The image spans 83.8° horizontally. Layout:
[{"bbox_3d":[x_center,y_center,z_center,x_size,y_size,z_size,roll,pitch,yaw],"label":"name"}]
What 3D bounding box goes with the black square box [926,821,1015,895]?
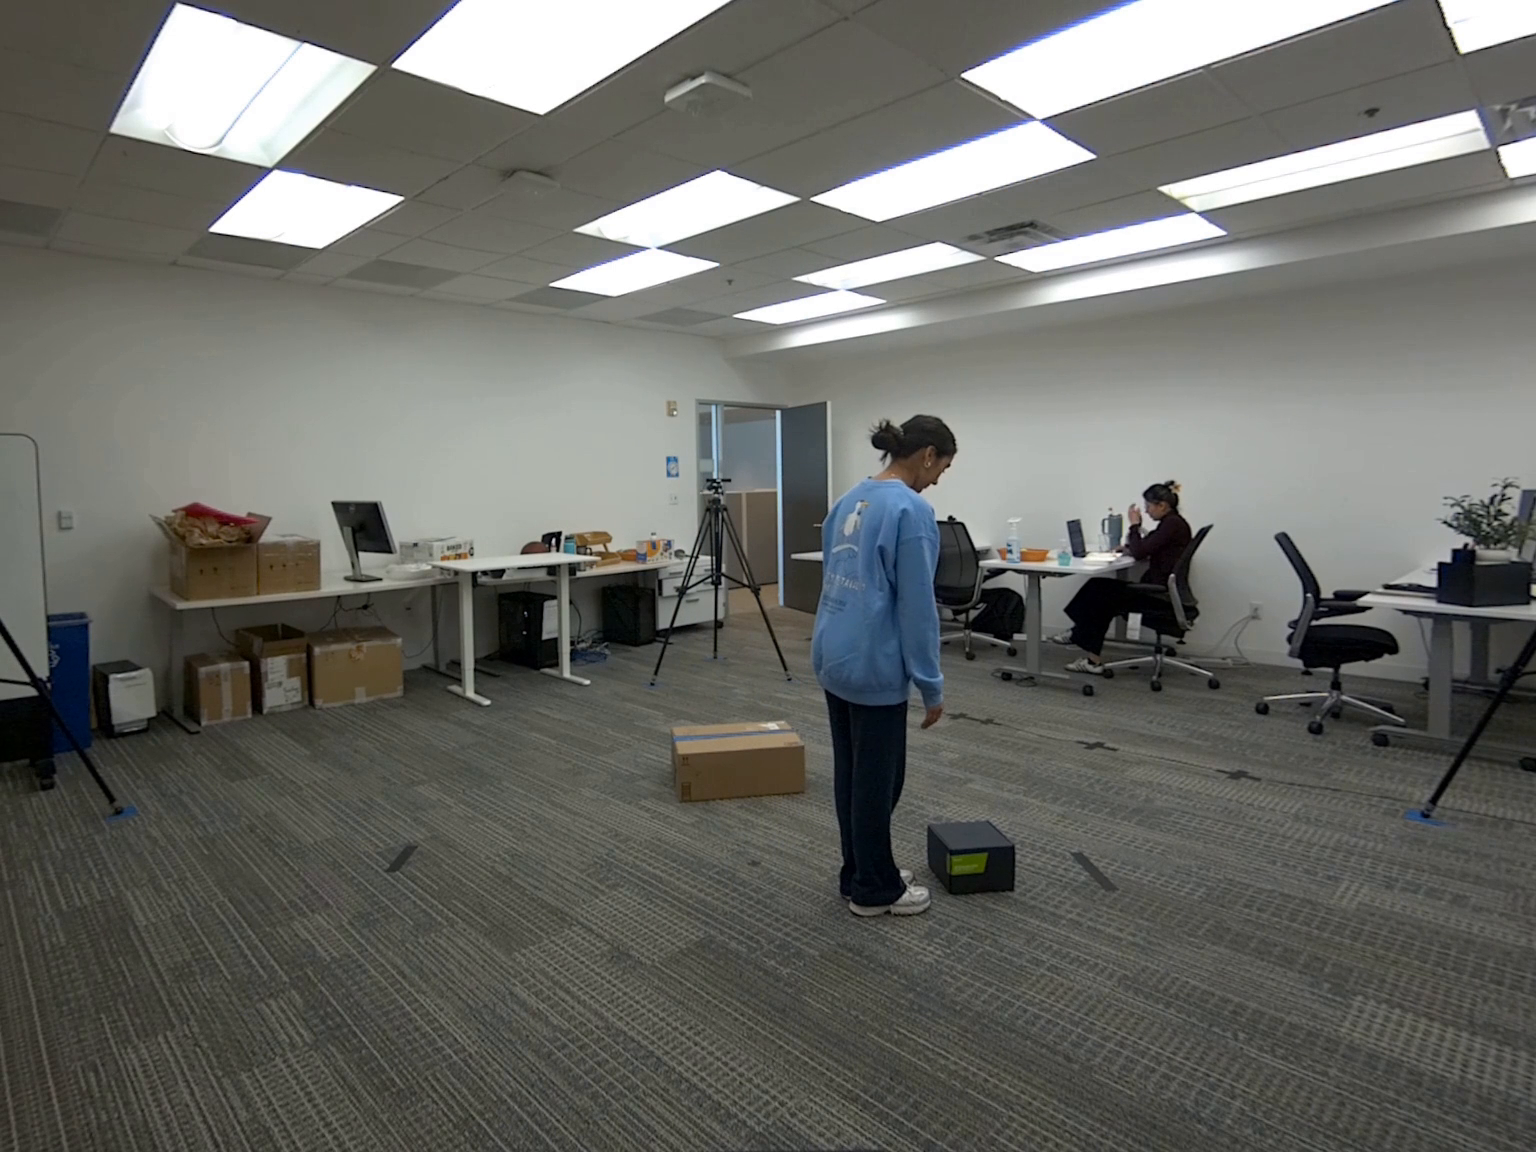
[{"bbox_3d":[0.706,0.965,2.952,0.226,0.155,0.219,-2,5,-9],"label":"black square box"}]
